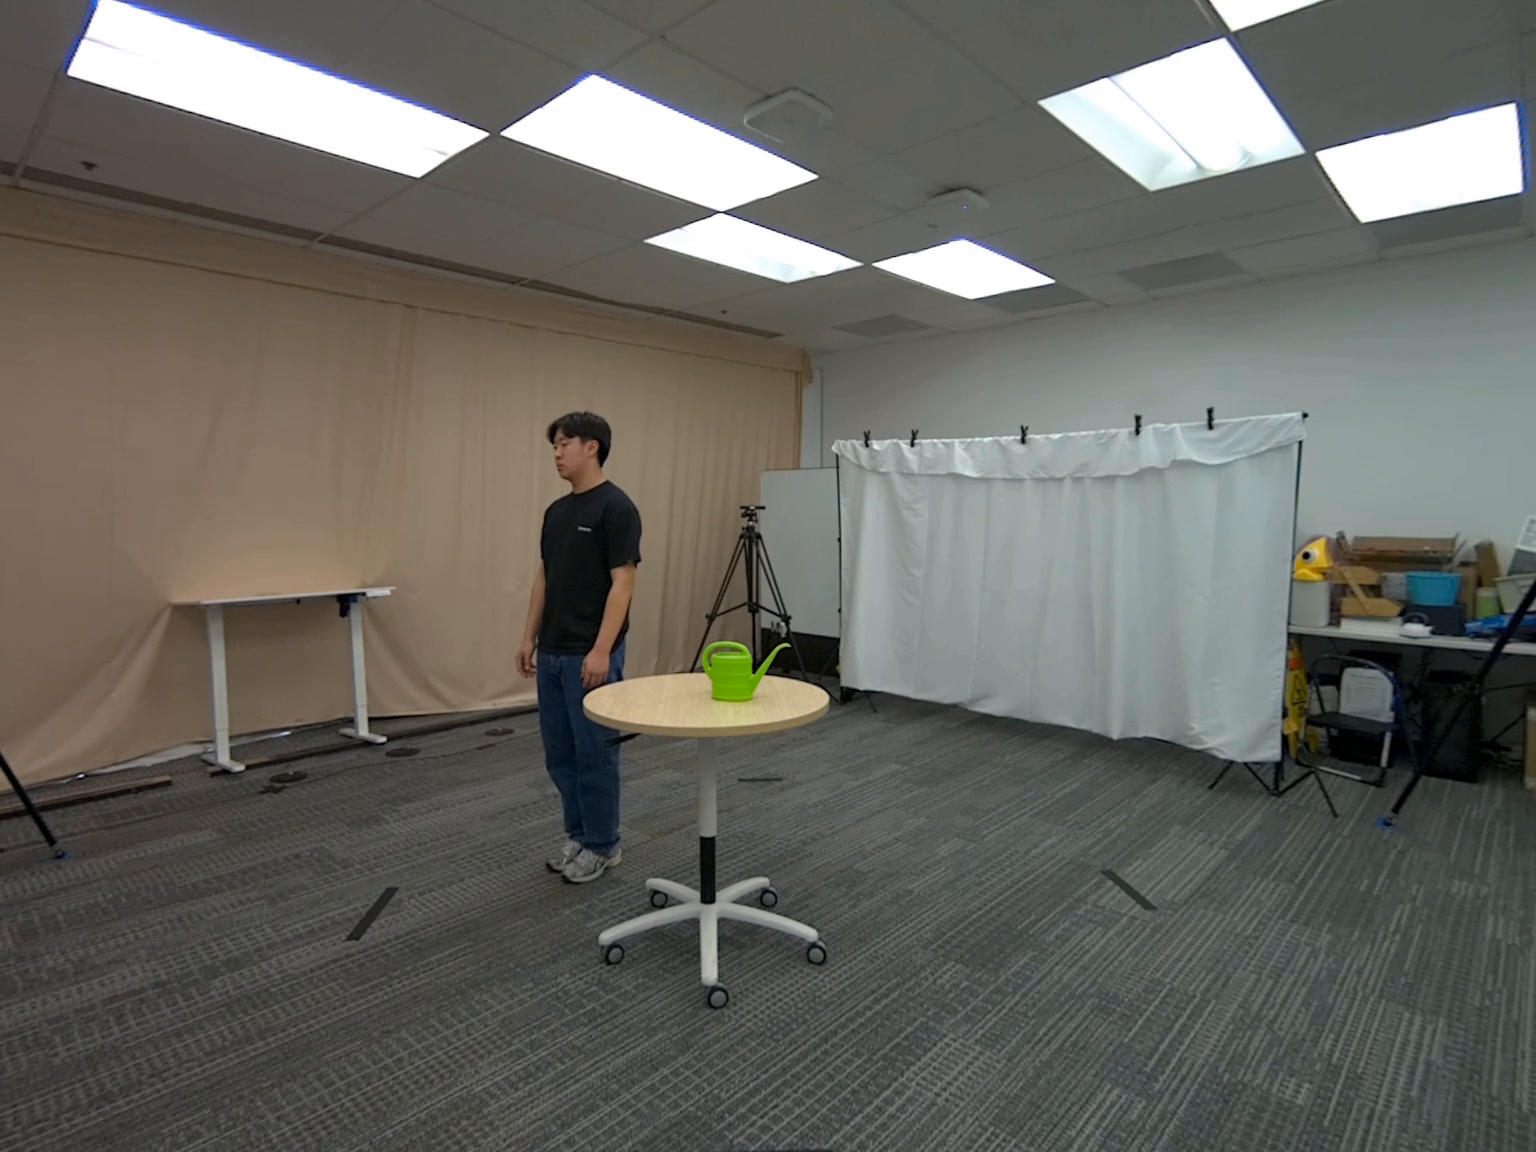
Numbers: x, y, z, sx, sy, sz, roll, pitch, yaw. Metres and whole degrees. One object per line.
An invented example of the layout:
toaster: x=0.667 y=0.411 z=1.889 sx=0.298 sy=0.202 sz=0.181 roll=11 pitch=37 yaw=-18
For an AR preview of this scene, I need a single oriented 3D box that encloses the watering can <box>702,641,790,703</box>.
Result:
watering can: x=-0.069 y=0.292 z=2.581 sx=0.286 sy=0.176 sz=0.095 roll=-2 pitch=3 yaw=29
